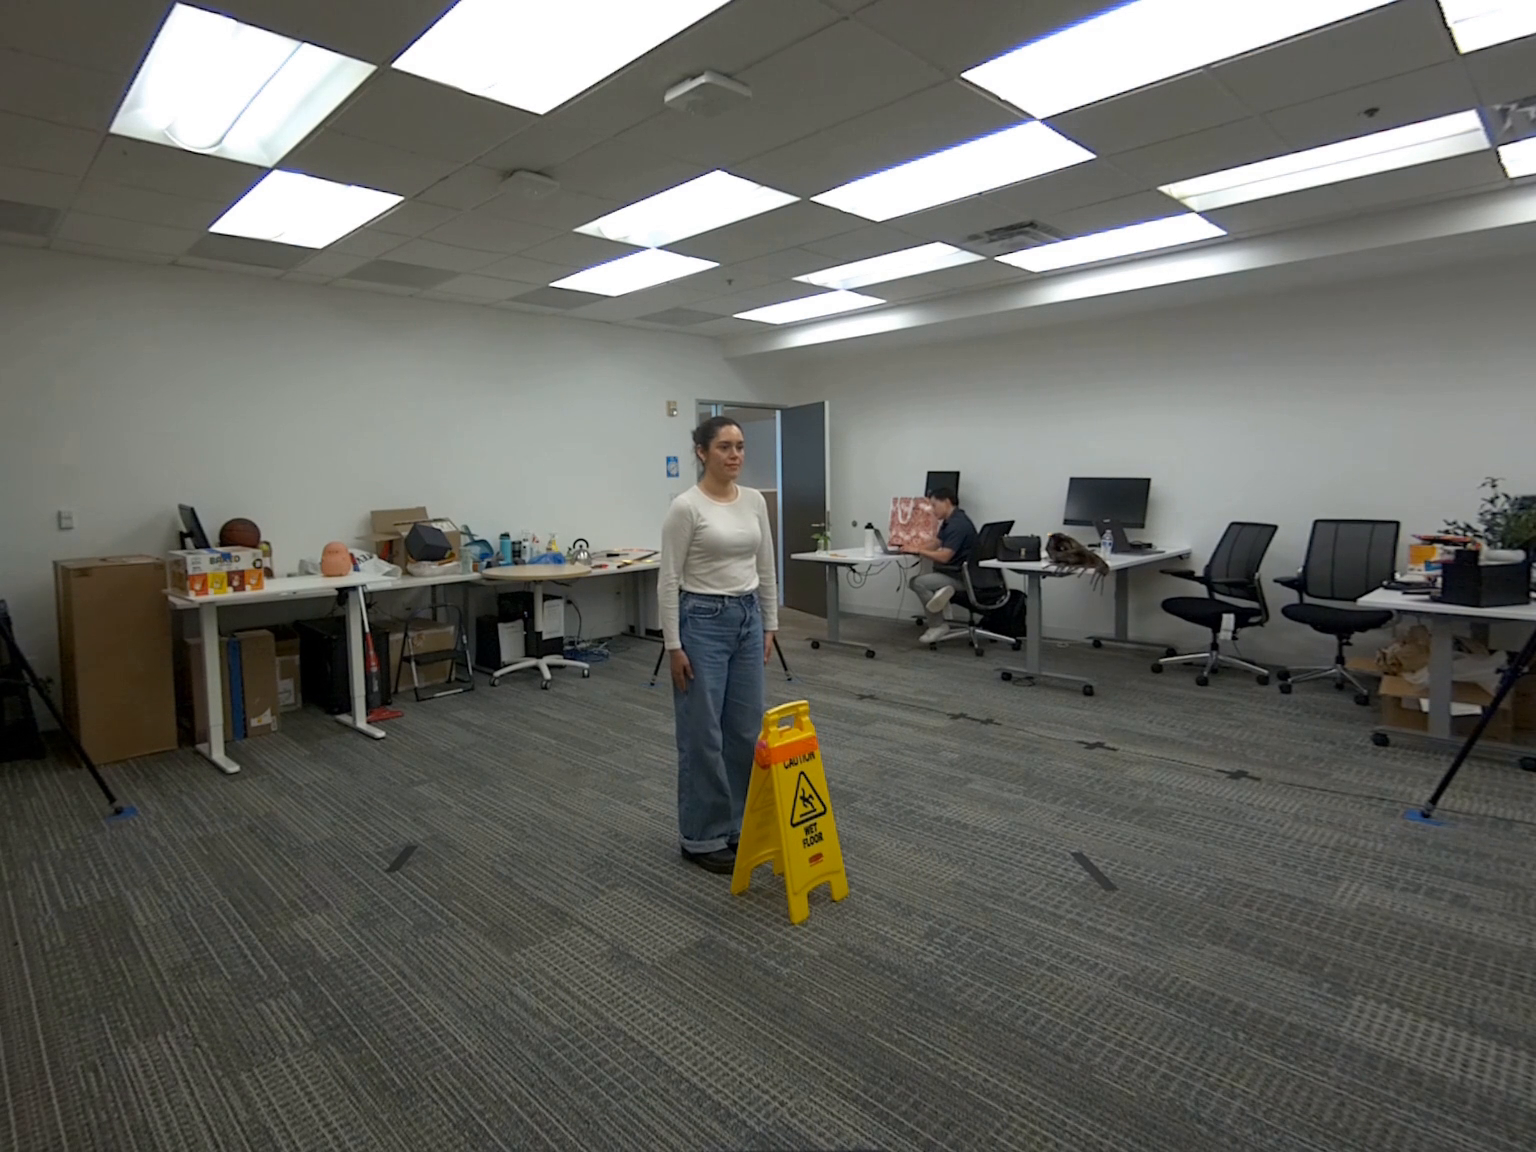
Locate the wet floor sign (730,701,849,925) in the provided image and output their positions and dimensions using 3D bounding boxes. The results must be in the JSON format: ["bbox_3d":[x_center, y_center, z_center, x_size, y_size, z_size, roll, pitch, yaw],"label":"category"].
[{"bbox_3d":[0.074,0.747,2.847,0.299,0.643,0.275,4,7,45],"label":"wet floor sign"}]
